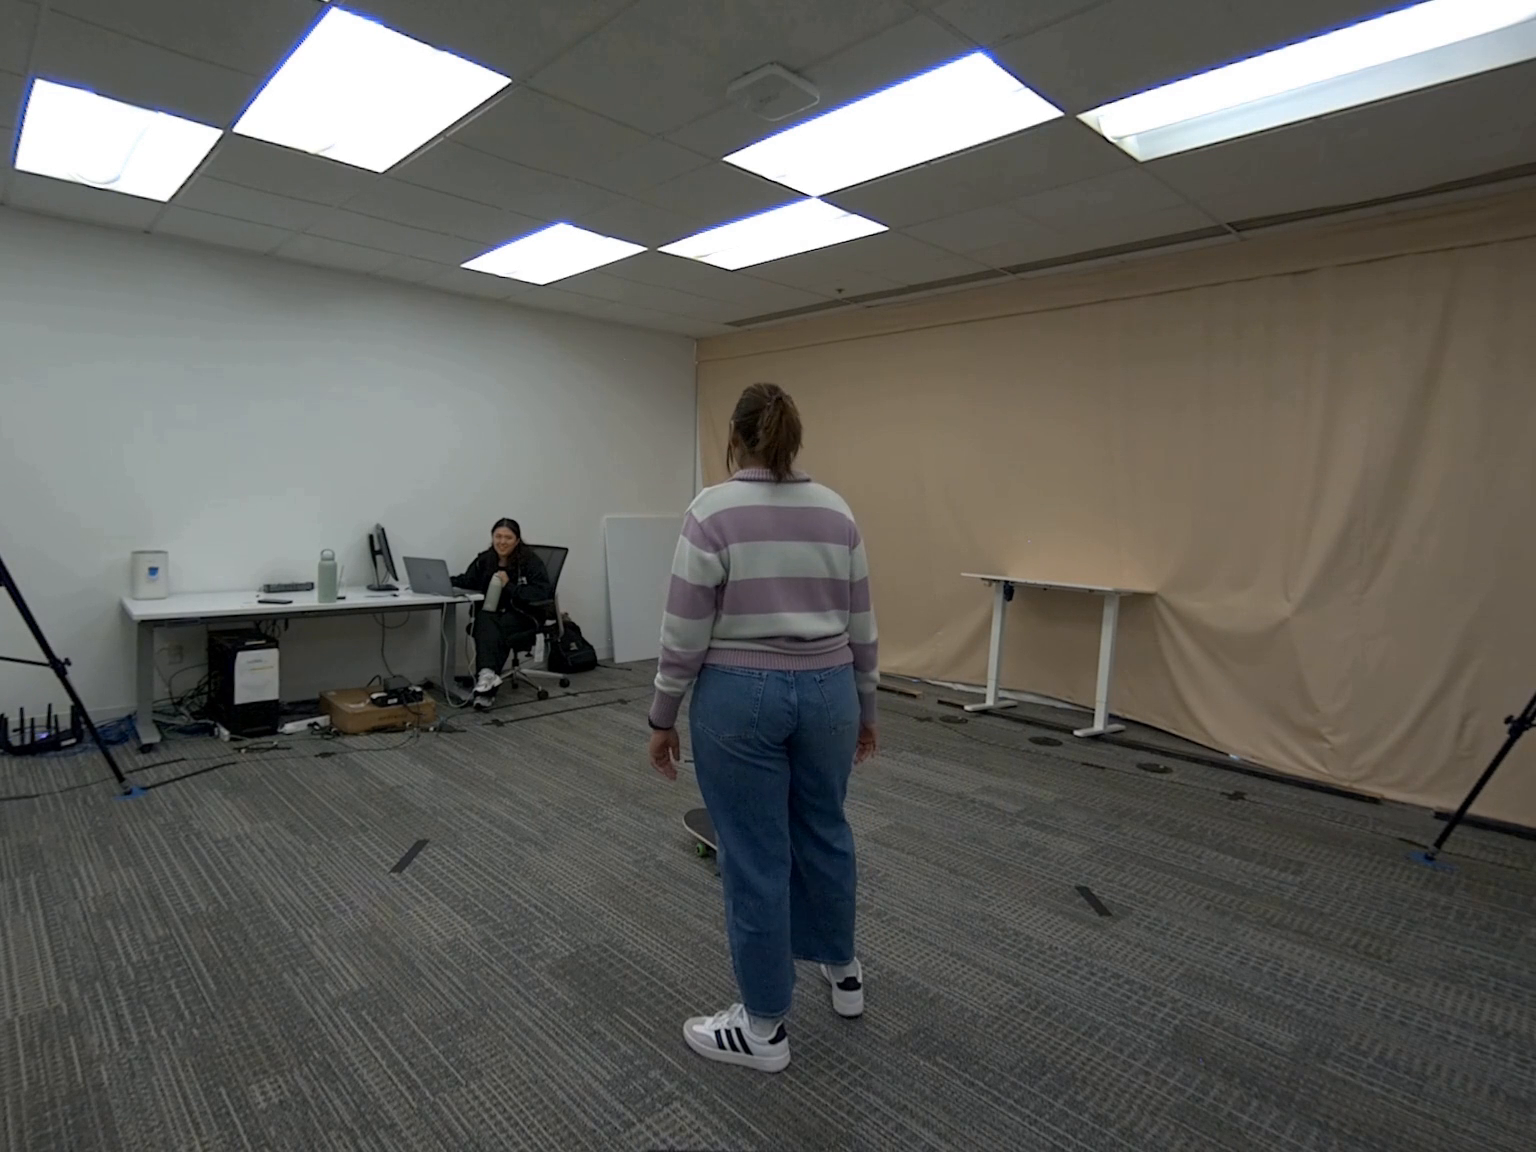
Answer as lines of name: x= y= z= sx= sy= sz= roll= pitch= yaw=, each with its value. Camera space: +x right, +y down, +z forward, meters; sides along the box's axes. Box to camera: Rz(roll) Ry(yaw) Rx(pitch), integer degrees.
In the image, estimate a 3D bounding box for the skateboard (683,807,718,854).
skateboard: x=-0.083 y=1.050 z=3.130 sx=0.189 sy=0.110 sz=0.804 roll=0 pitch=5 yaw=-33
